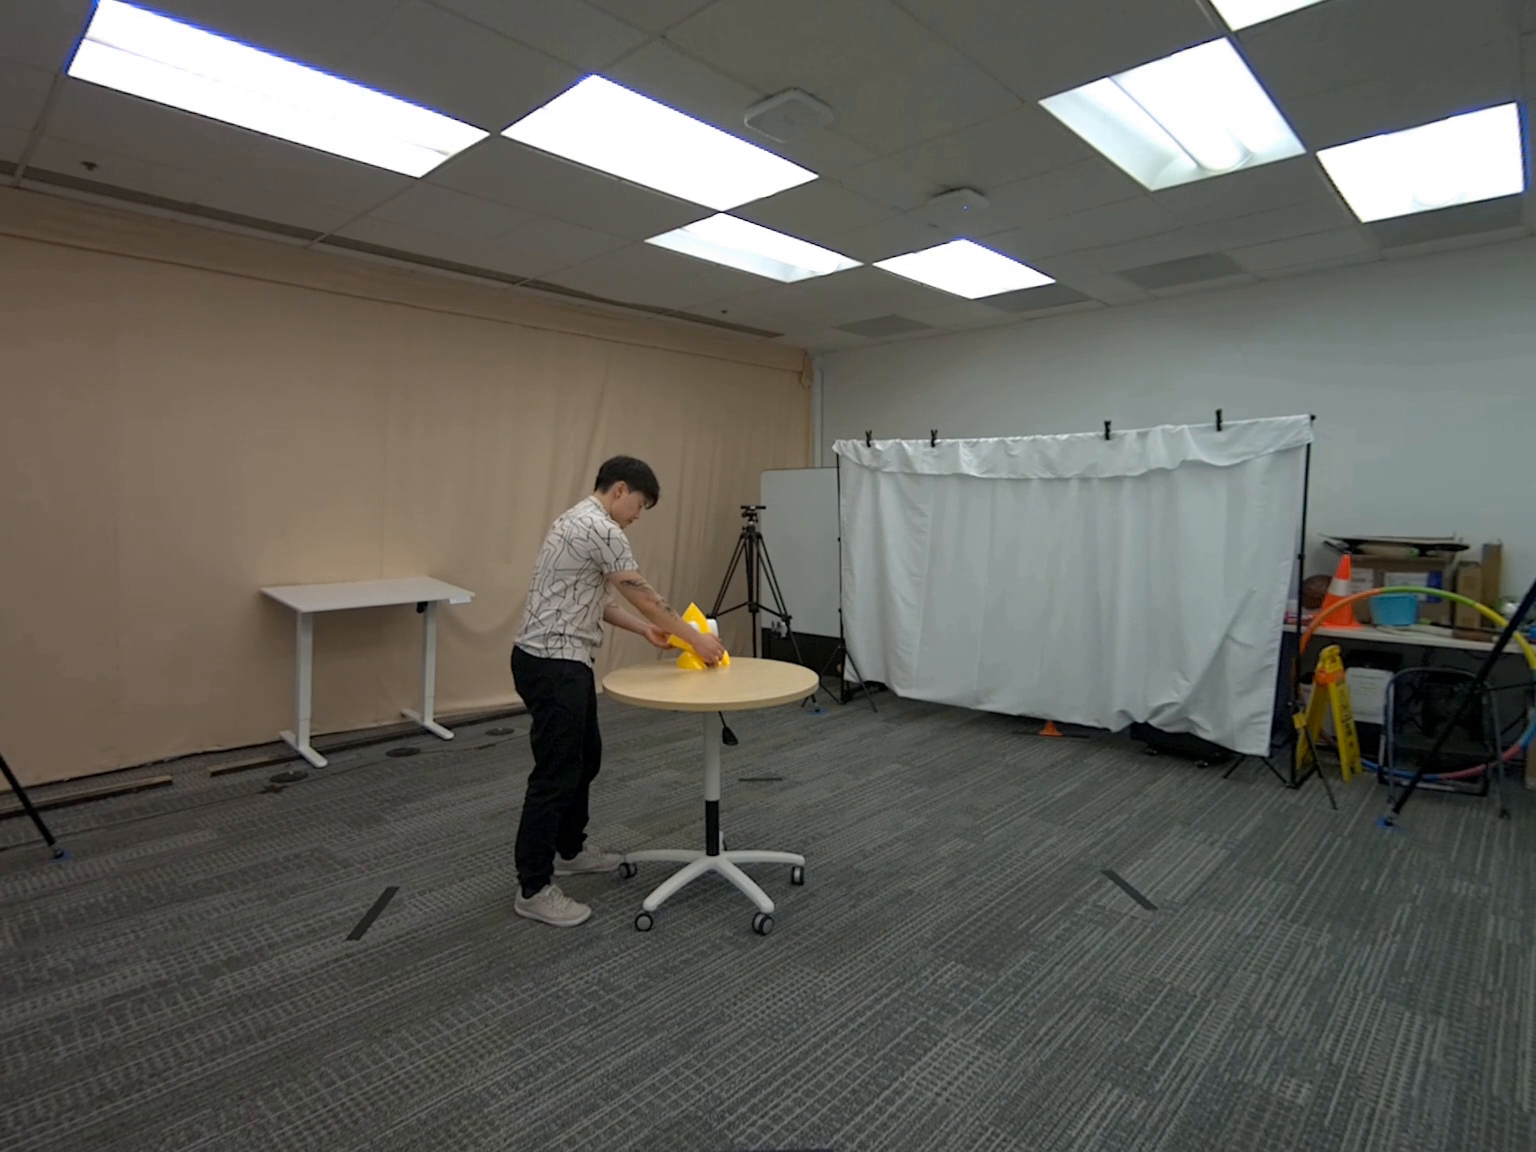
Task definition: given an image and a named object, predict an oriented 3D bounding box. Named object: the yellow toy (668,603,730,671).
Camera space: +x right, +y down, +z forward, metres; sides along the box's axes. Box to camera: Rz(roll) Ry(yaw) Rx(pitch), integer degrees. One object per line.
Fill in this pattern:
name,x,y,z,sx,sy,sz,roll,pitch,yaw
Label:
yellow toy,-0.252,0.224,3.236,0.199,0.230,0.199,-4,6,-38
